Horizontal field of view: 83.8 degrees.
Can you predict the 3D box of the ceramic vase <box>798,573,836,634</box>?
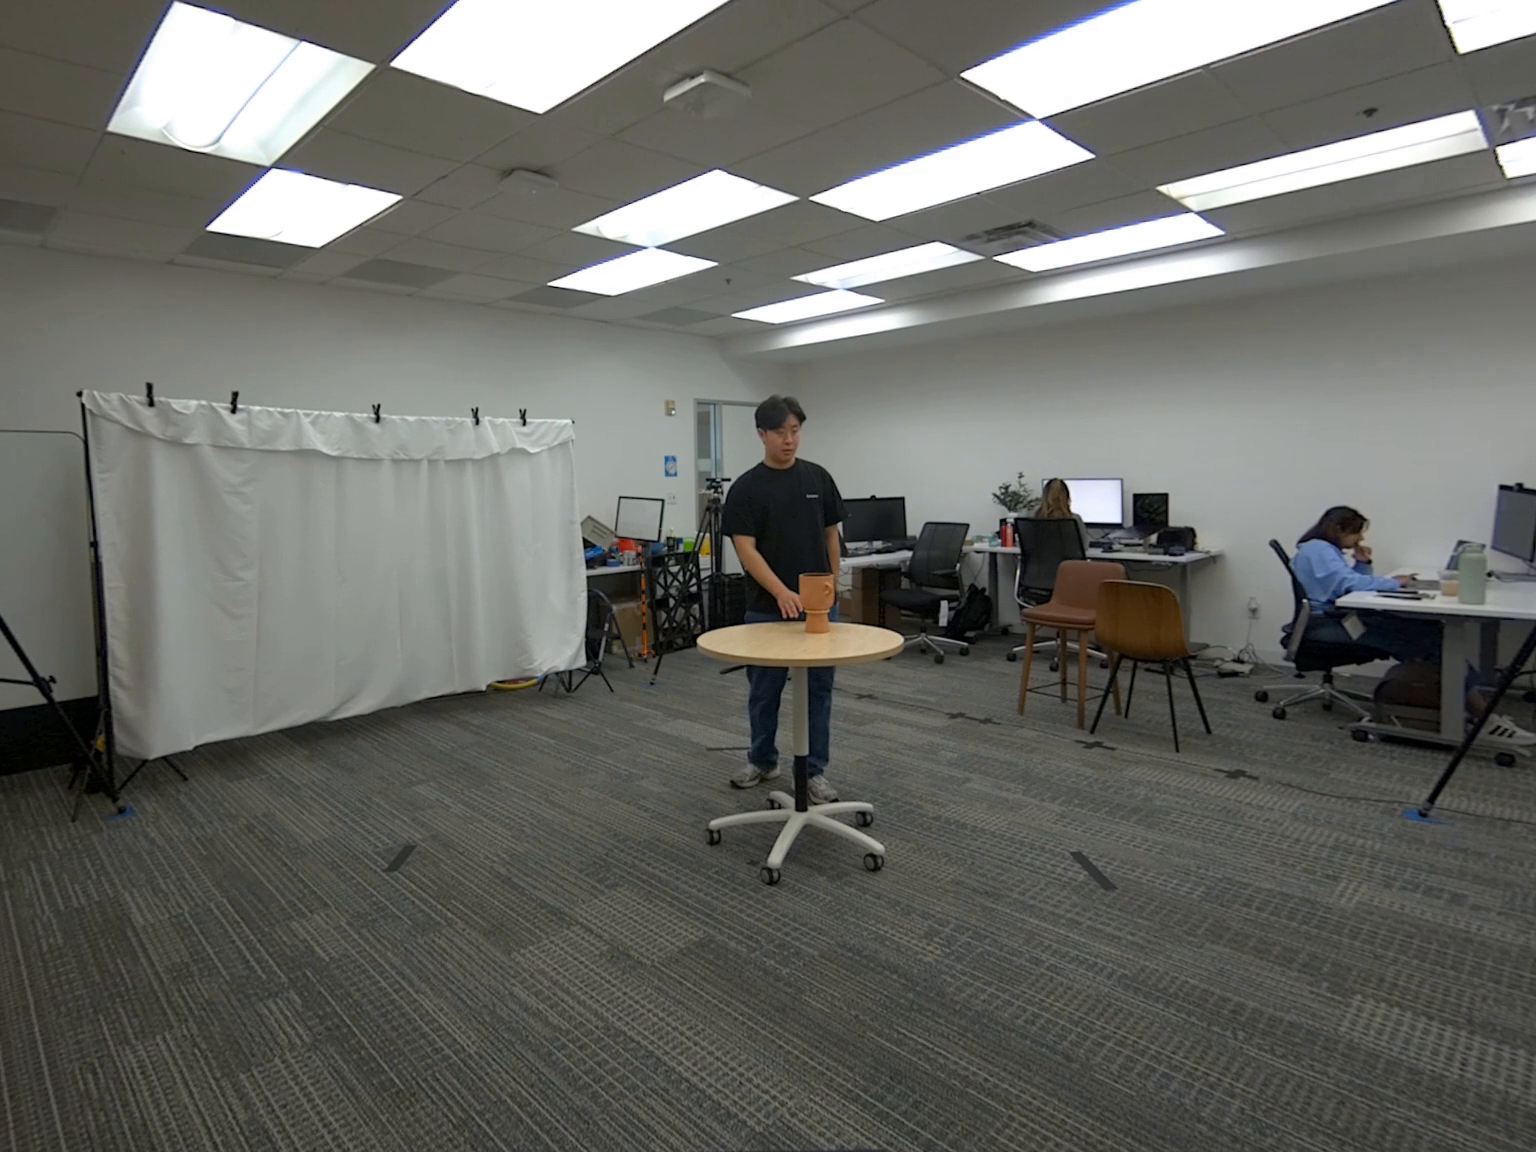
[{"bbox_3d":[0.192,0.110,3.335,0.136,0.219,0.158,-1,4,10],"label":"ceramic vase"}]
